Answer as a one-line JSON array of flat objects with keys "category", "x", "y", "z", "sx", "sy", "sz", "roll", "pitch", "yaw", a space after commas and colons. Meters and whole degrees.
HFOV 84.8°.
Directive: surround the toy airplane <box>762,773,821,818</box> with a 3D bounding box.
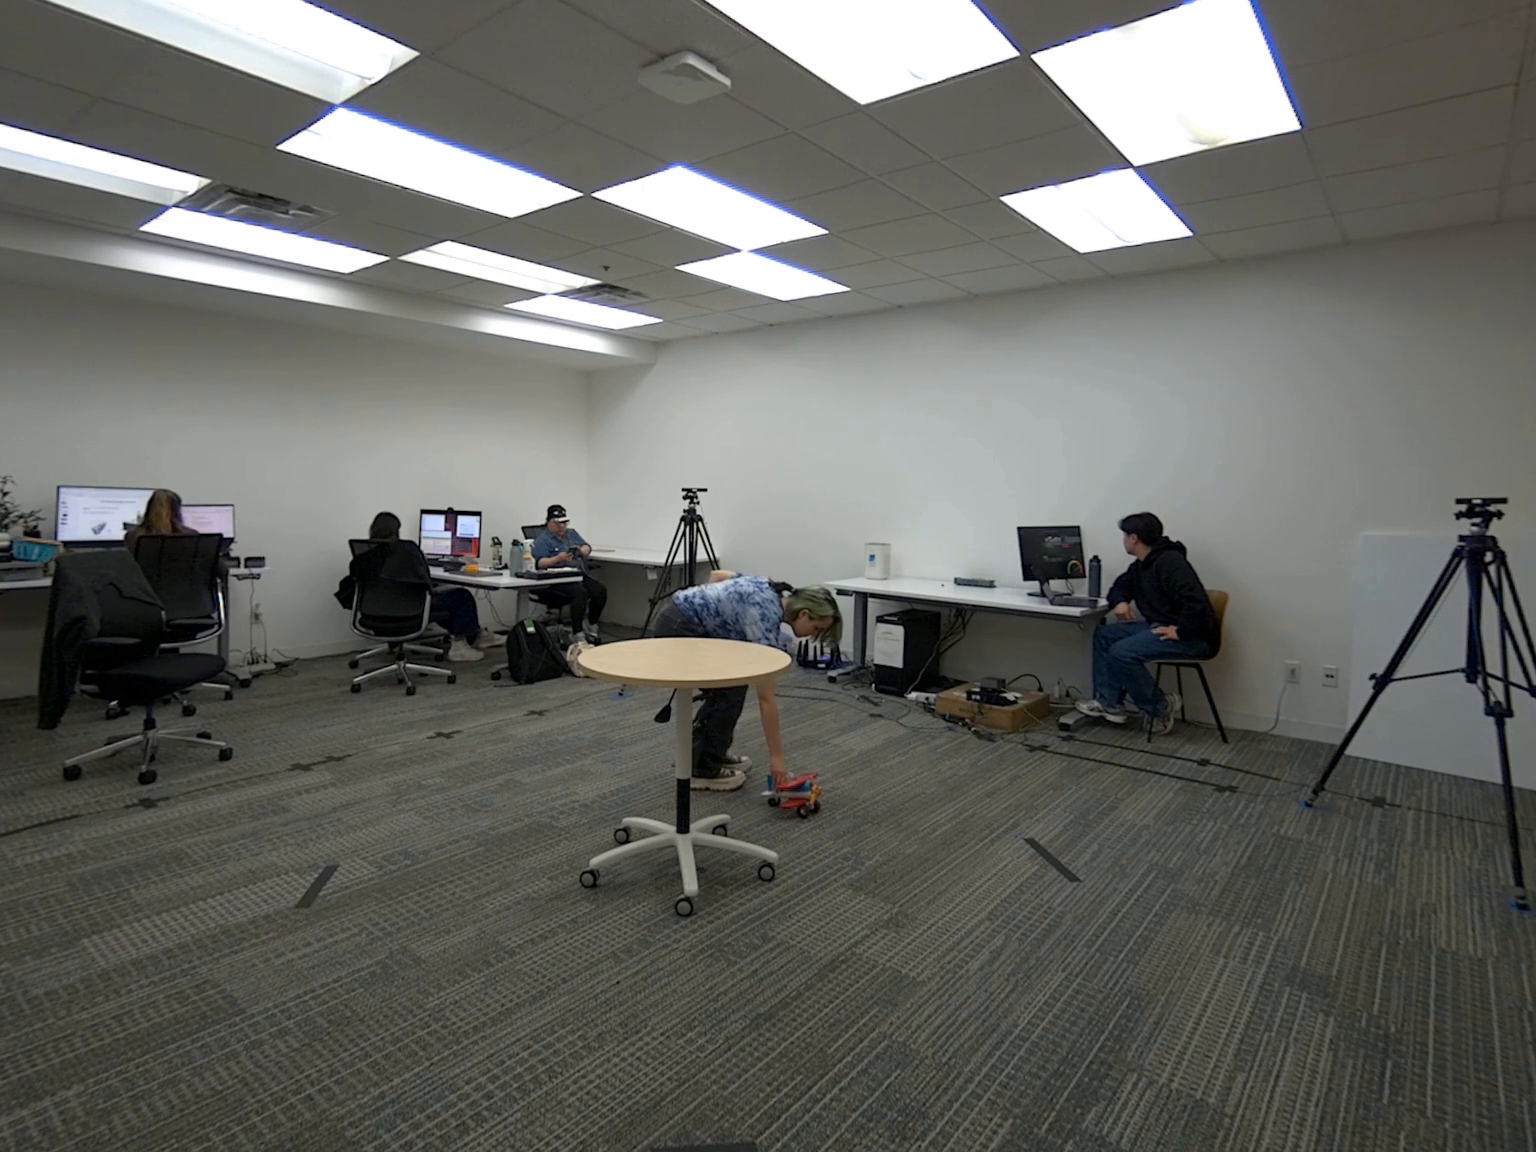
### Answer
[{"category": "toy airplane", "x": 0.089, "y": 0.945, "z": 3.694, "sx": 0.262, "sy": 0.156, "sz": 0.250, "roll": 4, "pitch": 5, "yaw": 7}]
